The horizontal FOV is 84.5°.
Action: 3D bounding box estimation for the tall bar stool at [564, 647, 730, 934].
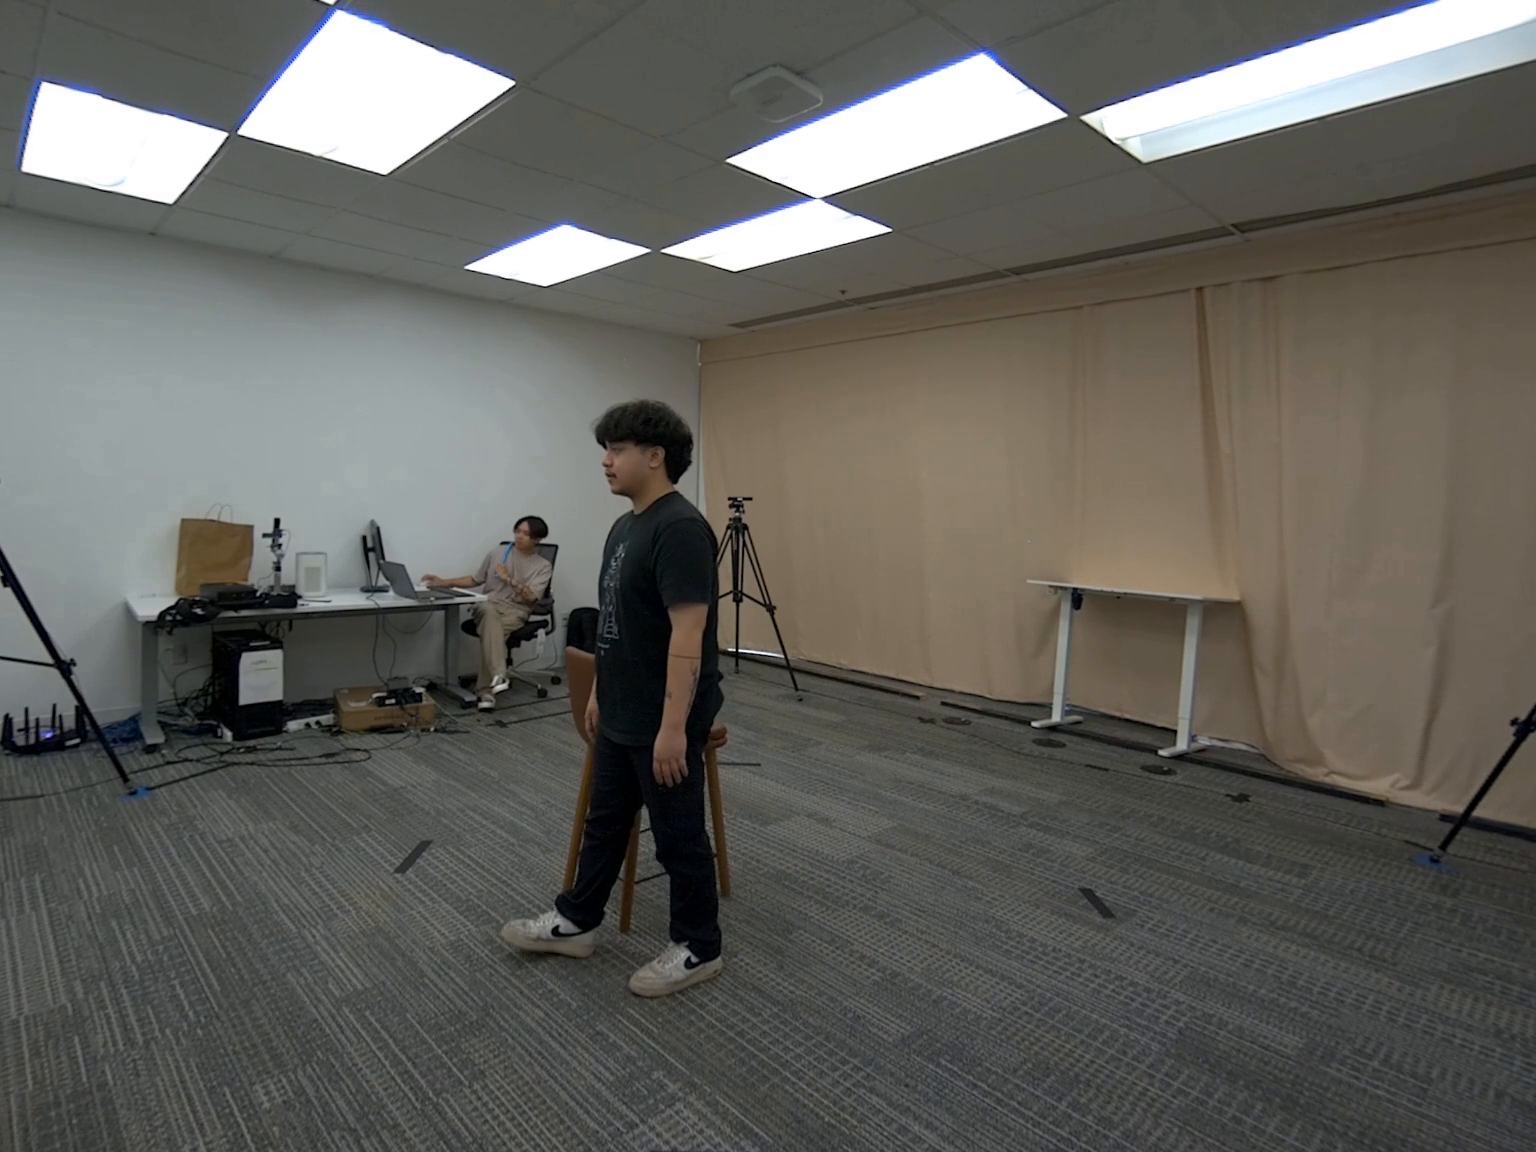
[{"bbox_3d":[-0.432,0.683,2.930,0.457,0.886,0.468,-5,7,-42],"label":"tall bar stool"}]
